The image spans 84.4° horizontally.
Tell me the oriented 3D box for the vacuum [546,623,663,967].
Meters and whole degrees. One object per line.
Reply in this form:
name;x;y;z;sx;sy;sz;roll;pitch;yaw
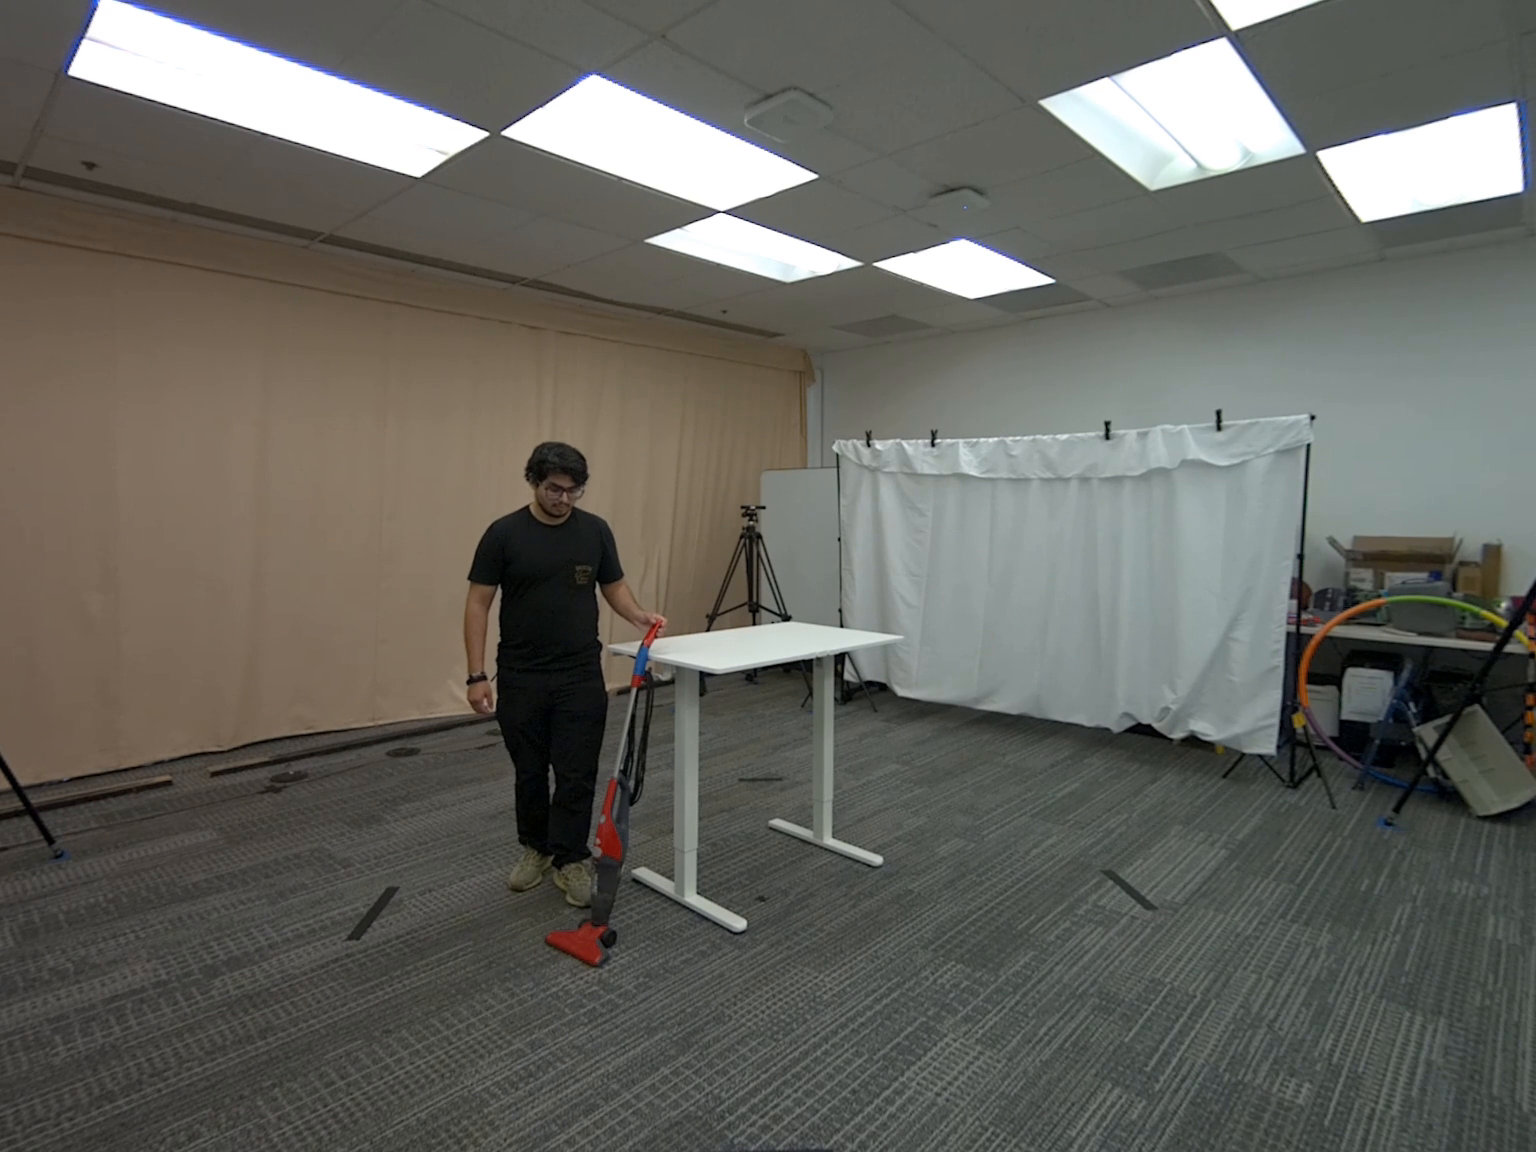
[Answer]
vacuum;-0.479;0.668;2.782;0.260;1.055;0.139;2;-15;35
